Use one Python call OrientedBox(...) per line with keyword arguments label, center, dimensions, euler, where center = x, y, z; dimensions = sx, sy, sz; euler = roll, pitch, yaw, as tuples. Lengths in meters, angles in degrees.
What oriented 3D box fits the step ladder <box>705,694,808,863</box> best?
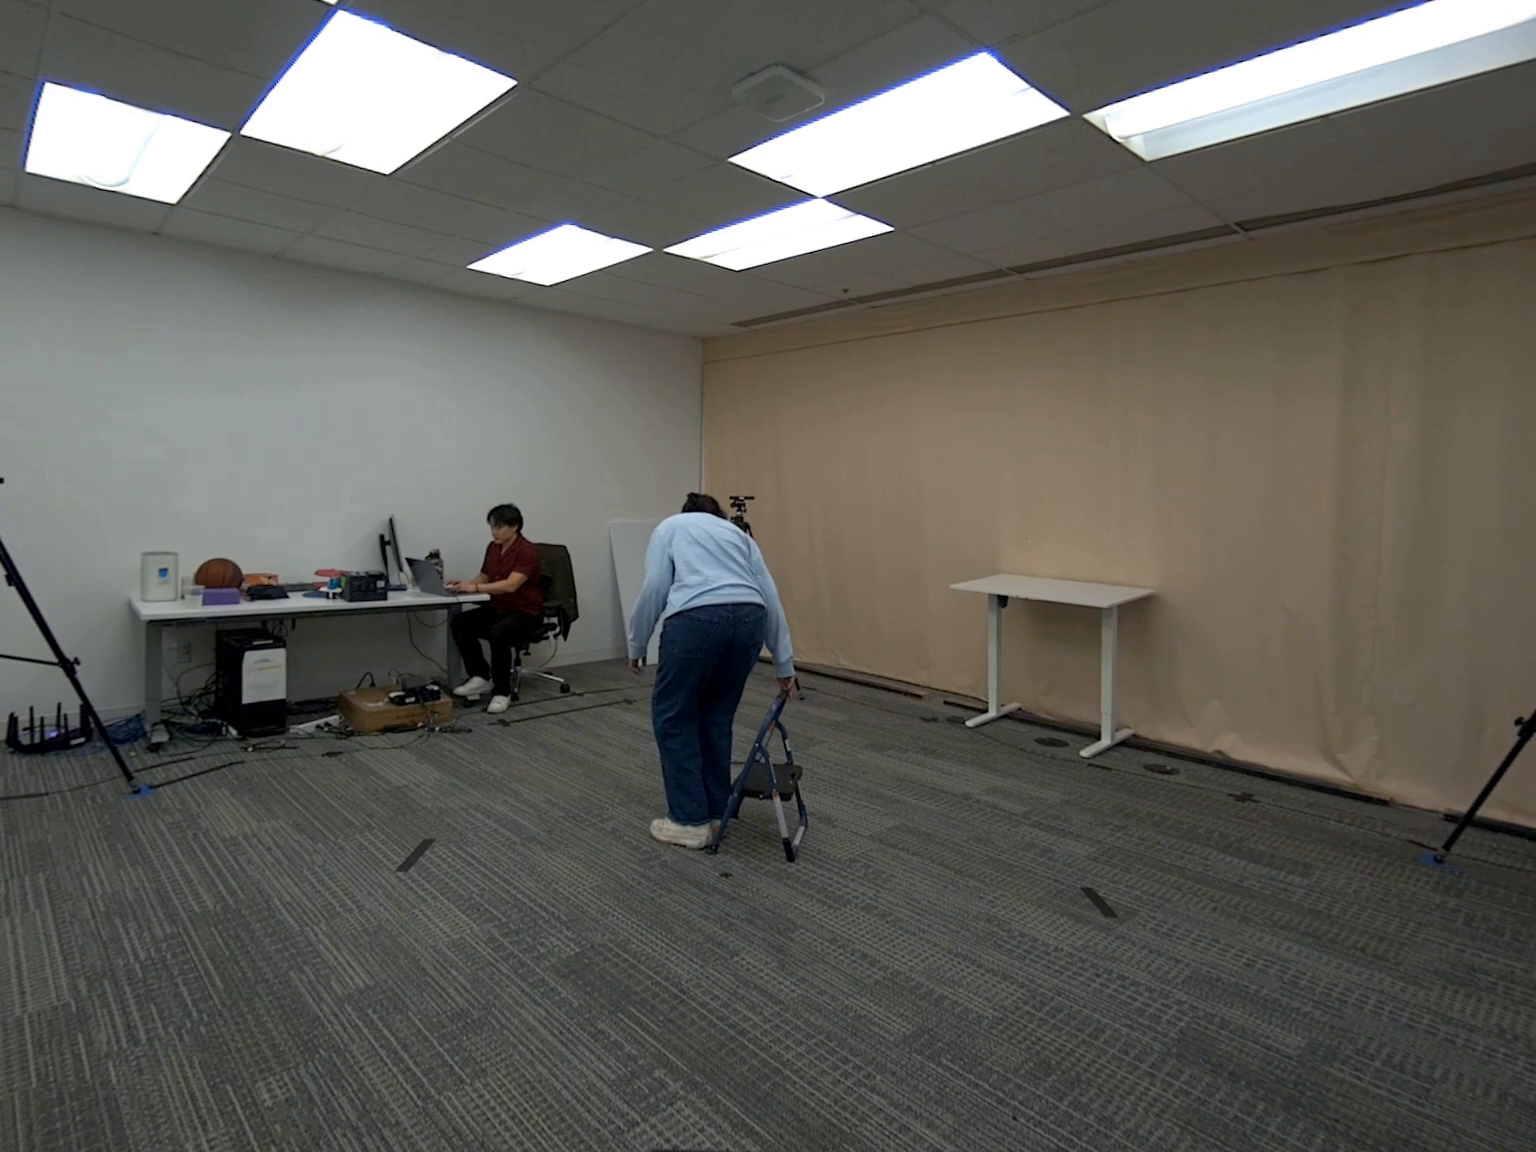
OrientedBox(label="step ladder", center=(-0.032, 0.773, 3.442), dimensions=(0.353, 0.604, 0.427), euler=(1, 4, 11))
